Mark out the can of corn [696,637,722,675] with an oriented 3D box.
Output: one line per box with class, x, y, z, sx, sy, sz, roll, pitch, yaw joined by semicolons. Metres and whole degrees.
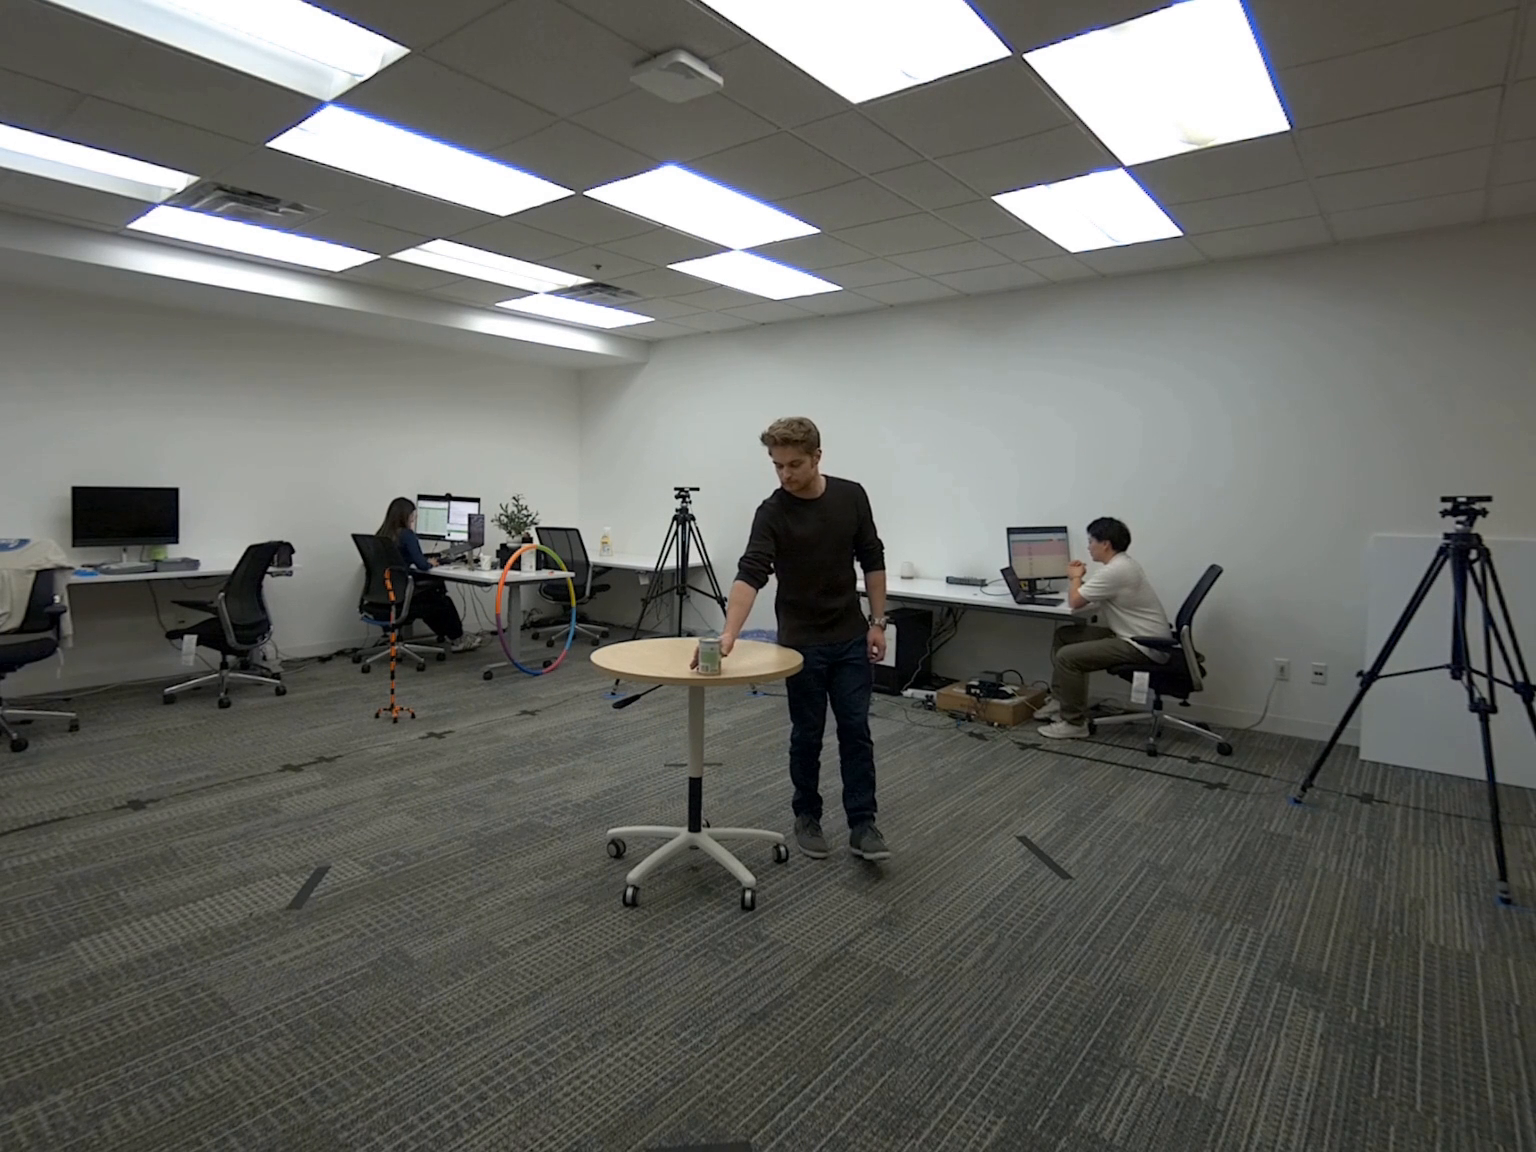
can of corn;-0.188;0.260;2.754;0.074;0.111;0.074;3;3;-2
